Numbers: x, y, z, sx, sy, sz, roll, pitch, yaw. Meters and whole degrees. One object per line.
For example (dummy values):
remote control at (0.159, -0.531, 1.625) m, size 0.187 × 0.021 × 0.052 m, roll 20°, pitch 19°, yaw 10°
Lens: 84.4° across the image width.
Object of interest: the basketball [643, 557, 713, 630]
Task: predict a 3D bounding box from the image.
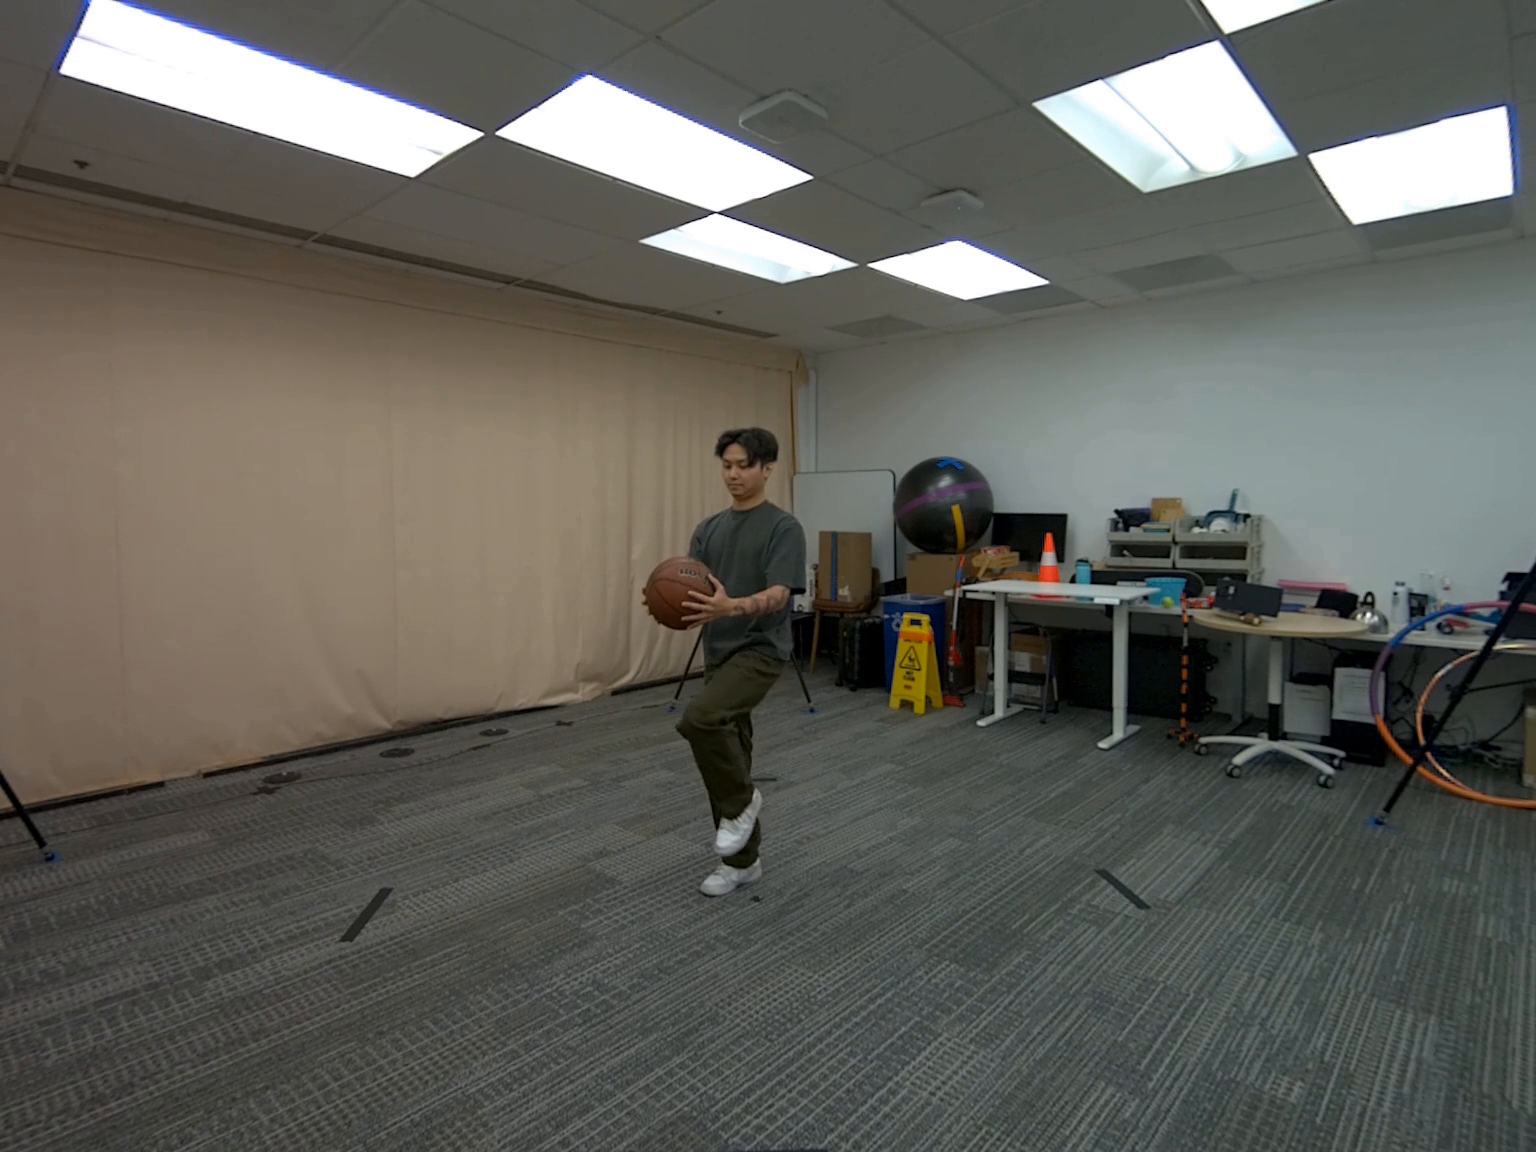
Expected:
basketball at (-0.276, 0.047, 2.738) m, size 0.236 × 0.235 × 0.237 m, roll 0°, pitch 4°, yaw -2°
